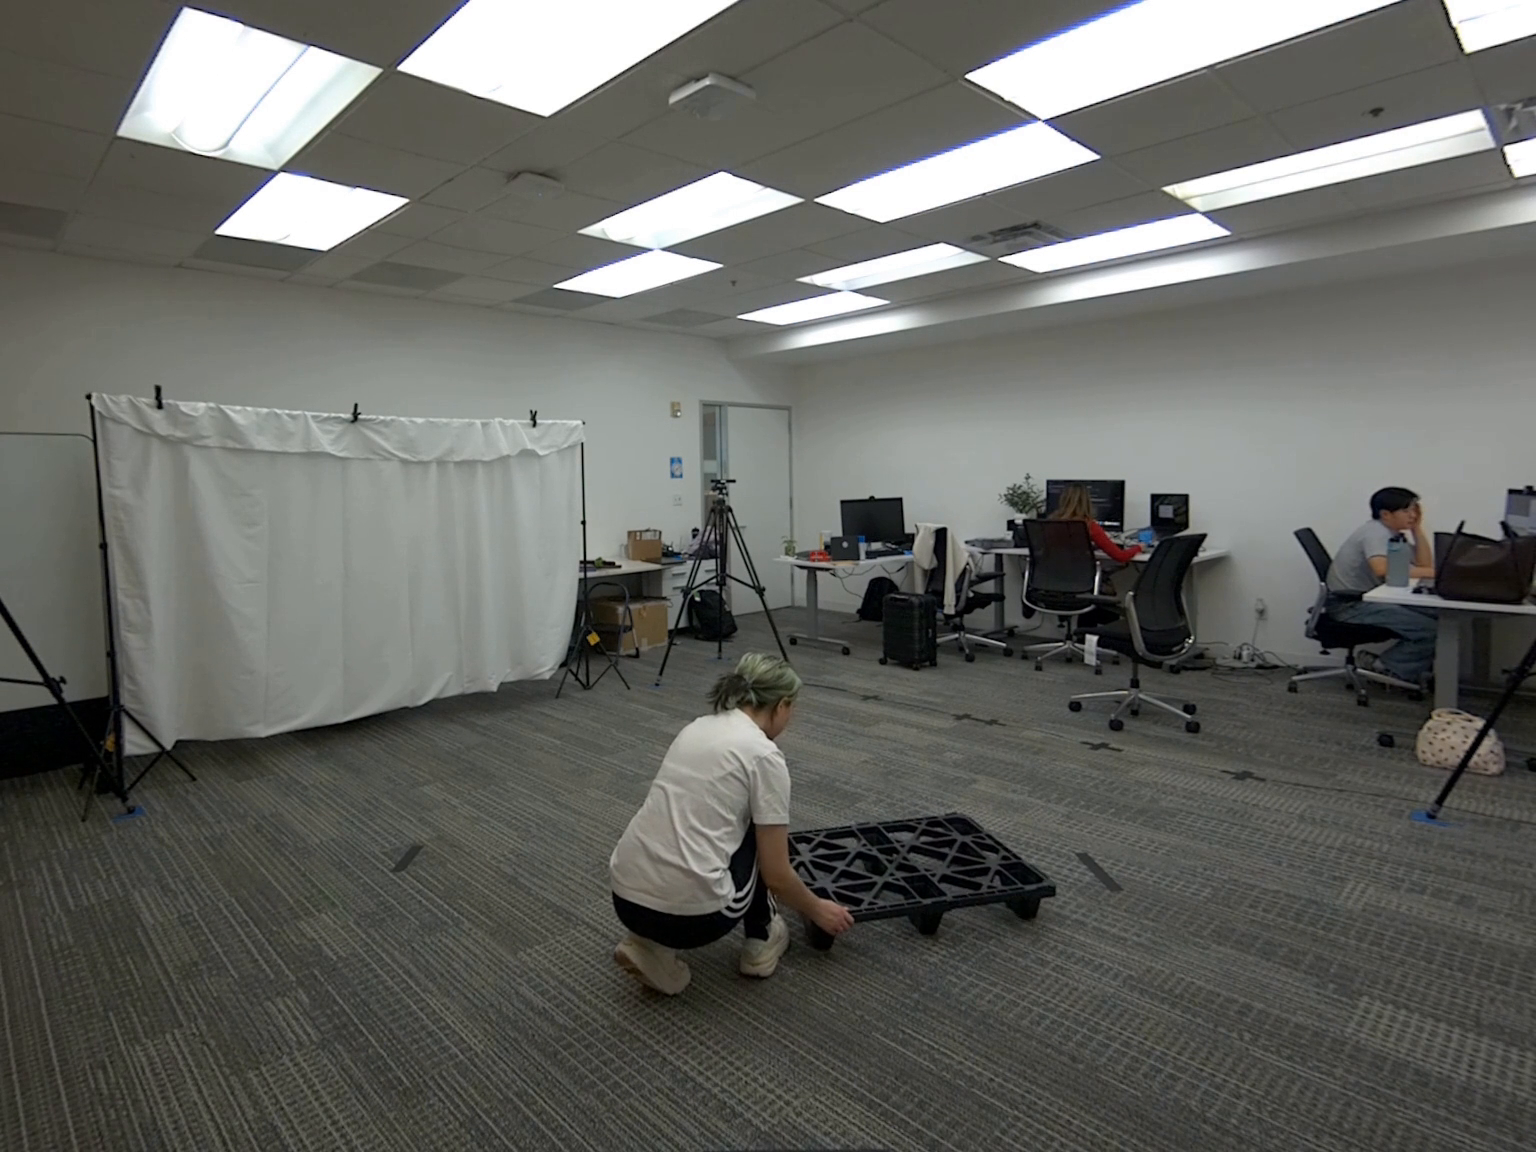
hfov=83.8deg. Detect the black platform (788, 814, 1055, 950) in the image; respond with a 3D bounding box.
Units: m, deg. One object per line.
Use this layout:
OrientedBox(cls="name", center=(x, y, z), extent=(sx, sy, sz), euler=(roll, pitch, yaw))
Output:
OrientedBox(cls="black platform", center=(0.433, 1.001, 2.840), extent=(0.795, 0.143, 0.615), euler=(-2, 6, -14))
